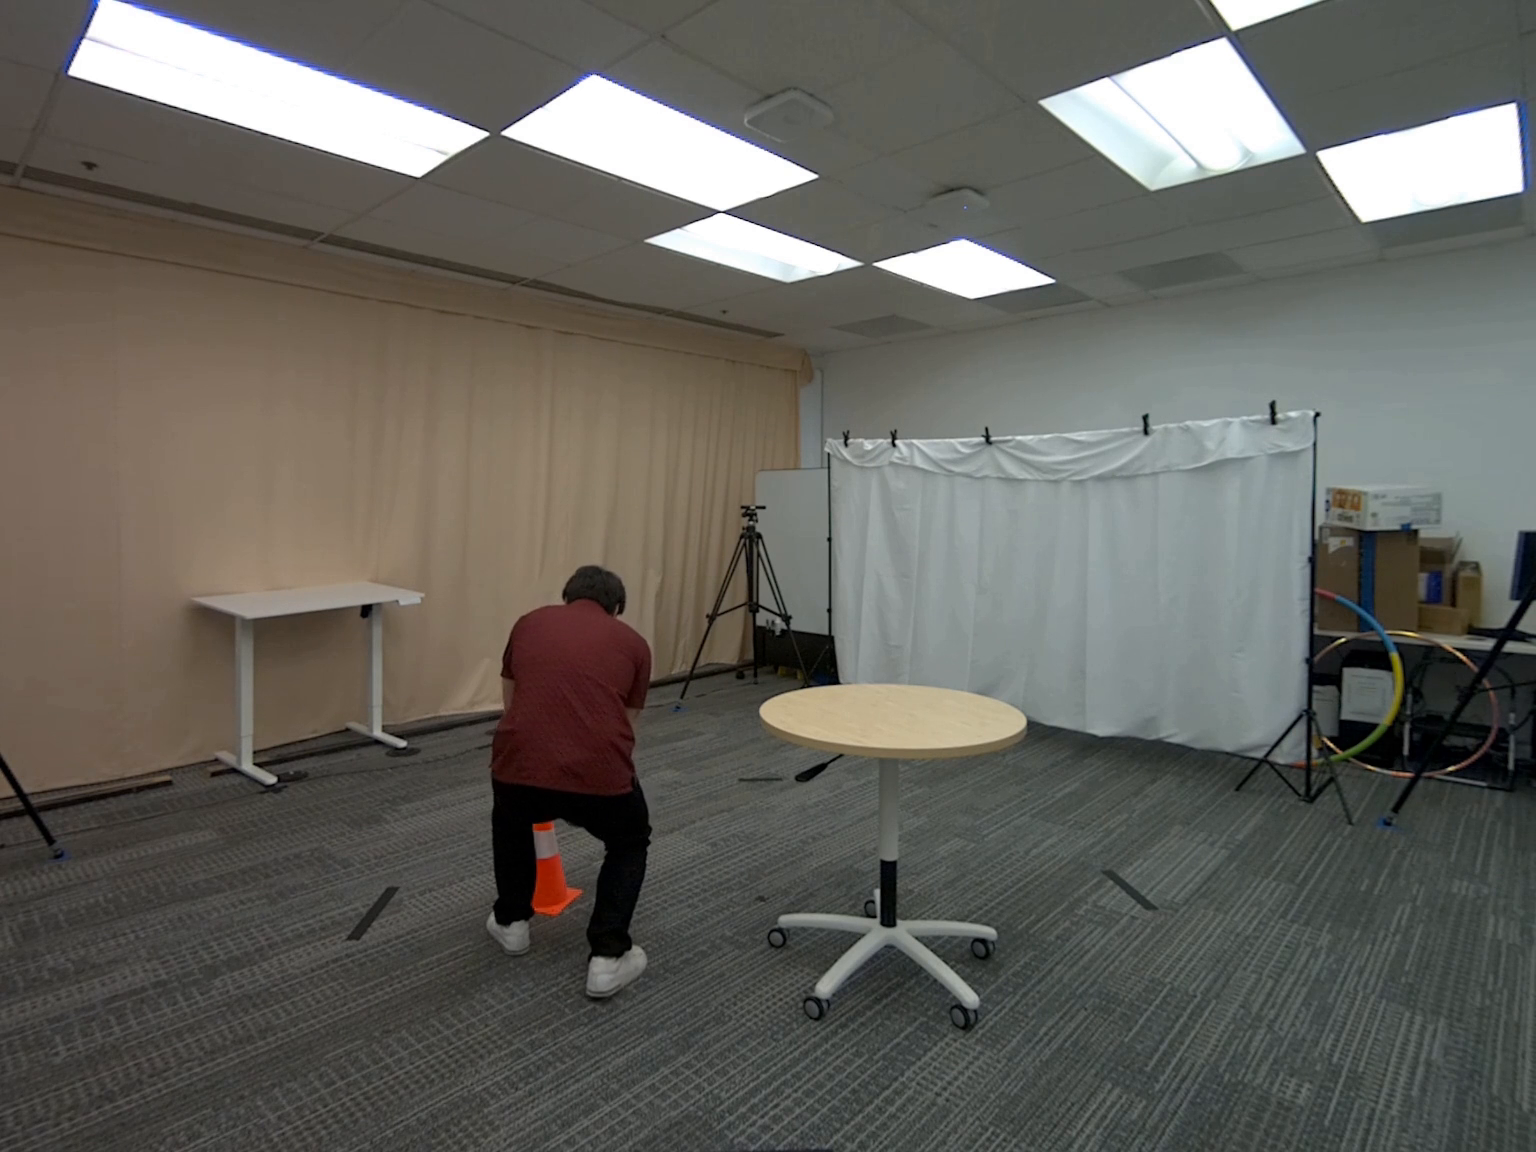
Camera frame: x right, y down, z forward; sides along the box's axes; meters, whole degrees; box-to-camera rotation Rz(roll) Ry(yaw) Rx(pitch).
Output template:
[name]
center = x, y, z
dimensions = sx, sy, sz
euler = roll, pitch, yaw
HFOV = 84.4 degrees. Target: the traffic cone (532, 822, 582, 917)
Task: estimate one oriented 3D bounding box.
[traffic cone]
center = -0.799, 0.966, 2.980
dimensions = 0.207, 0.383, 0.201
euler = -2, 2, 17
